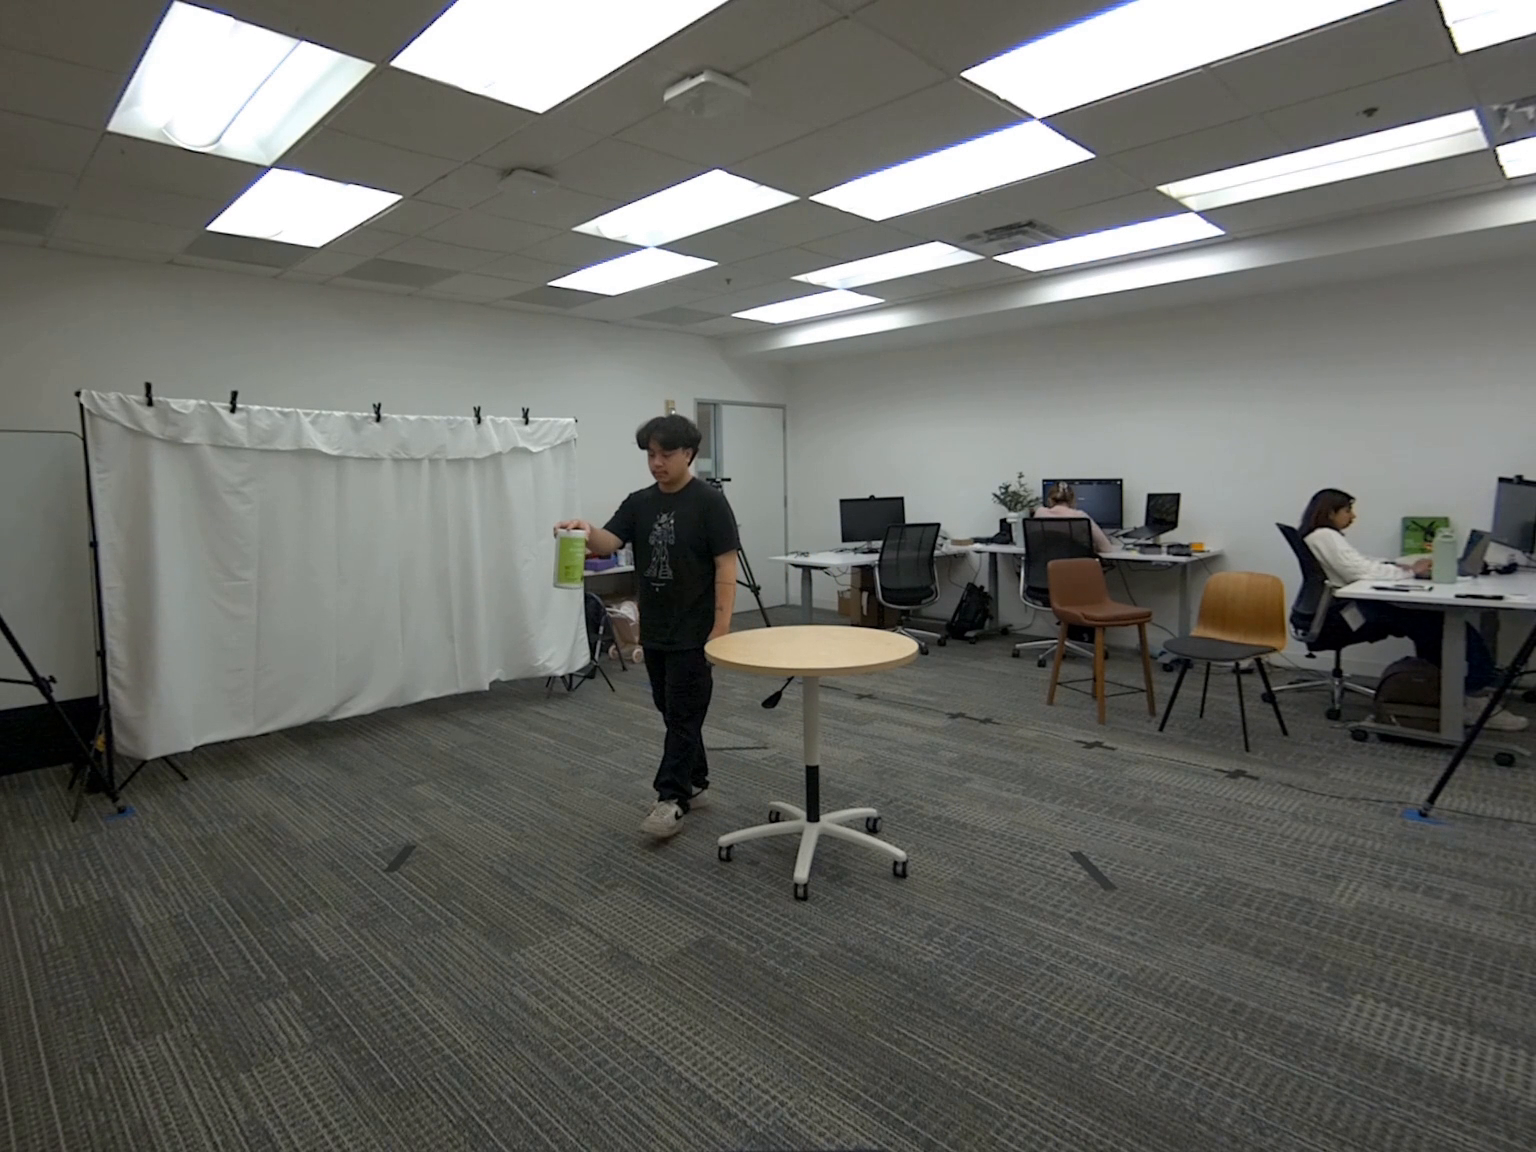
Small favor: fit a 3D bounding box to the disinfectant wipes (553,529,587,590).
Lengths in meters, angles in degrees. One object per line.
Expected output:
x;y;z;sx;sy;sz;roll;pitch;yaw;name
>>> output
-0.731;-0.061;3.131;0.118;0.217;0.118;3;1;-2;disinfectant wipes
